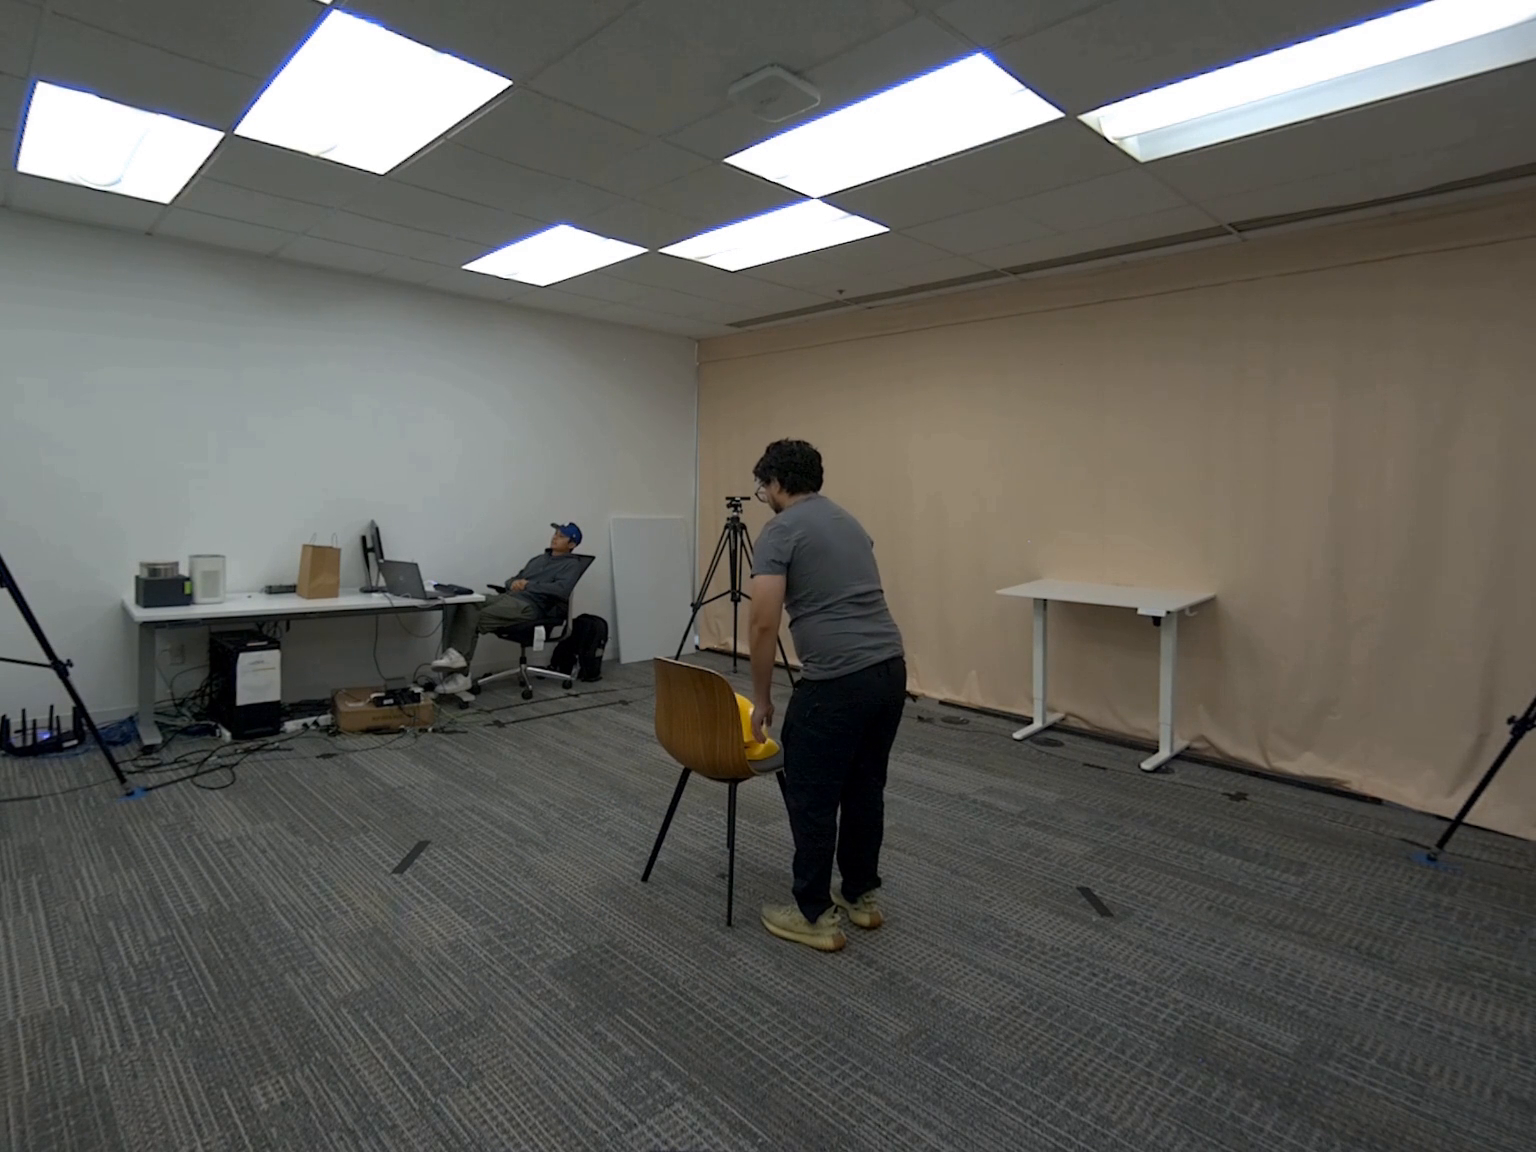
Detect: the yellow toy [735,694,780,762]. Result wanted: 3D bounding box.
[{"bbox_3d":[-0.080,0.519,3.023,0.189,0.230,0.210,-8,8,-41],"label":"yellow toy"}]
